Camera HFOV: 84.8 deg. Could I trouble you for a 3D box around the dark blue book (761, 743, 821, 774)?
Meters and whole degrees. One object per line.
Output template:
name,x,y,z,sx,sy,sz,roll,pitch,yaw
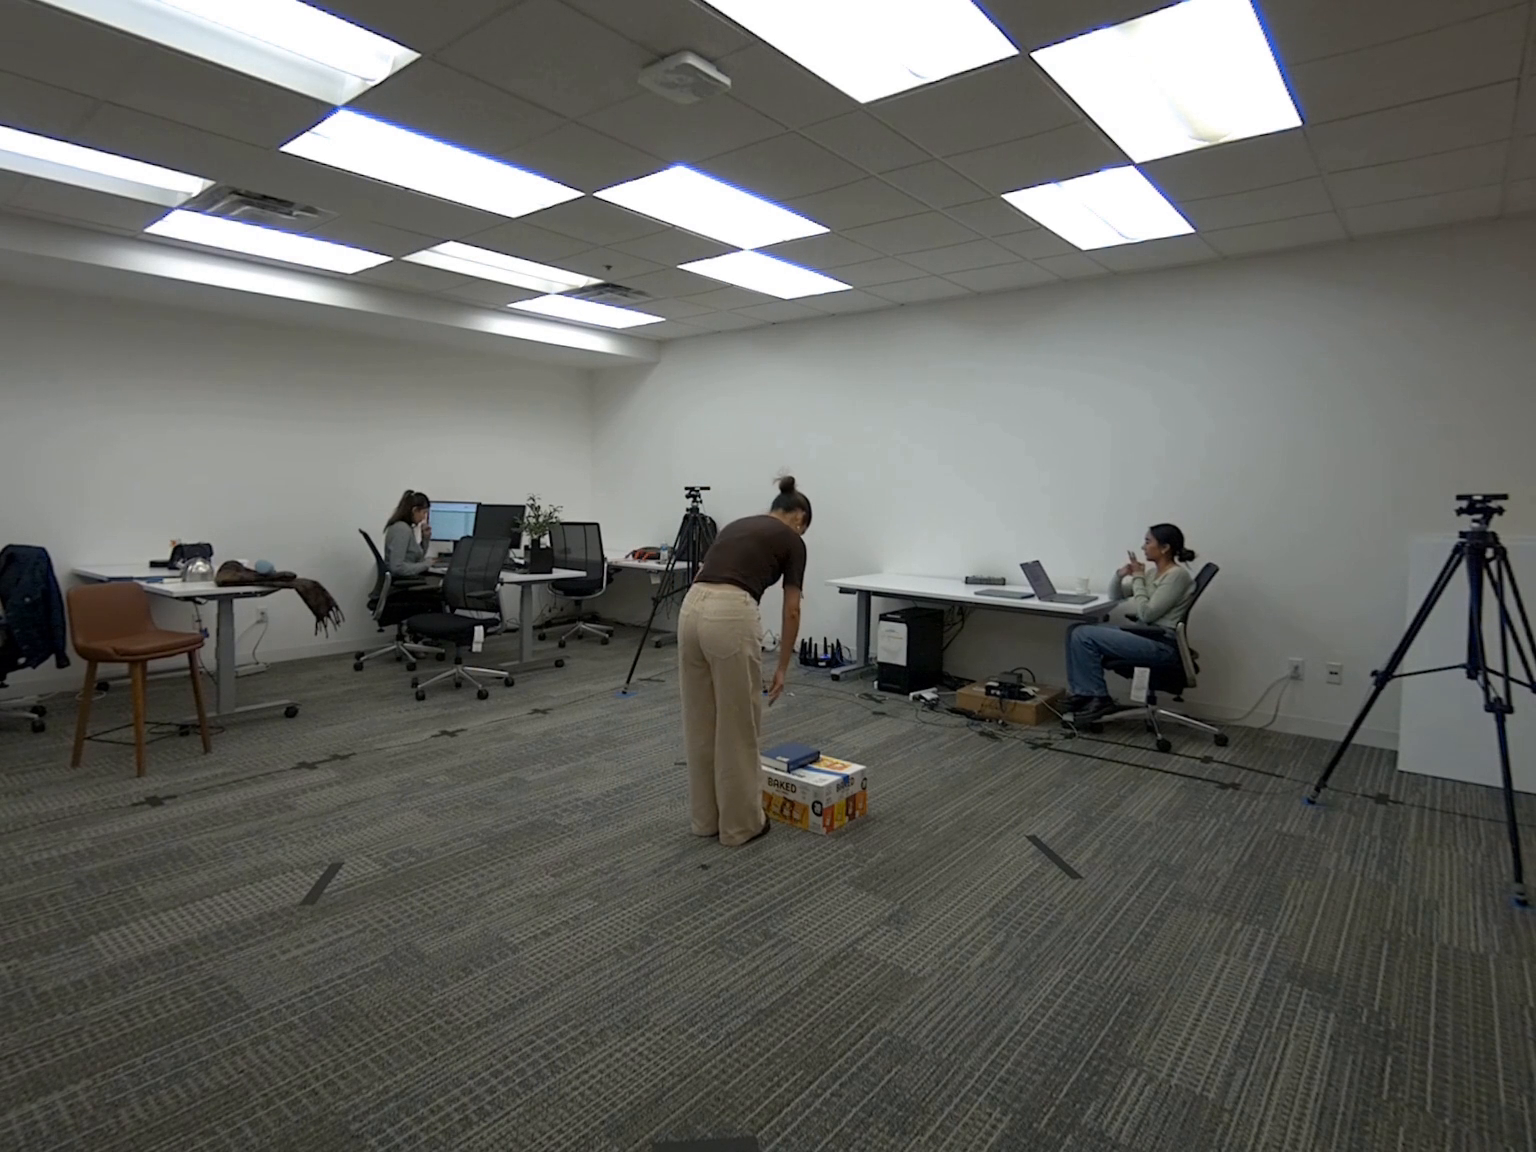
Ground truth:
dark blue book,0.082,0.787,3.725,0.169,0.045,0.238,8,9,39
